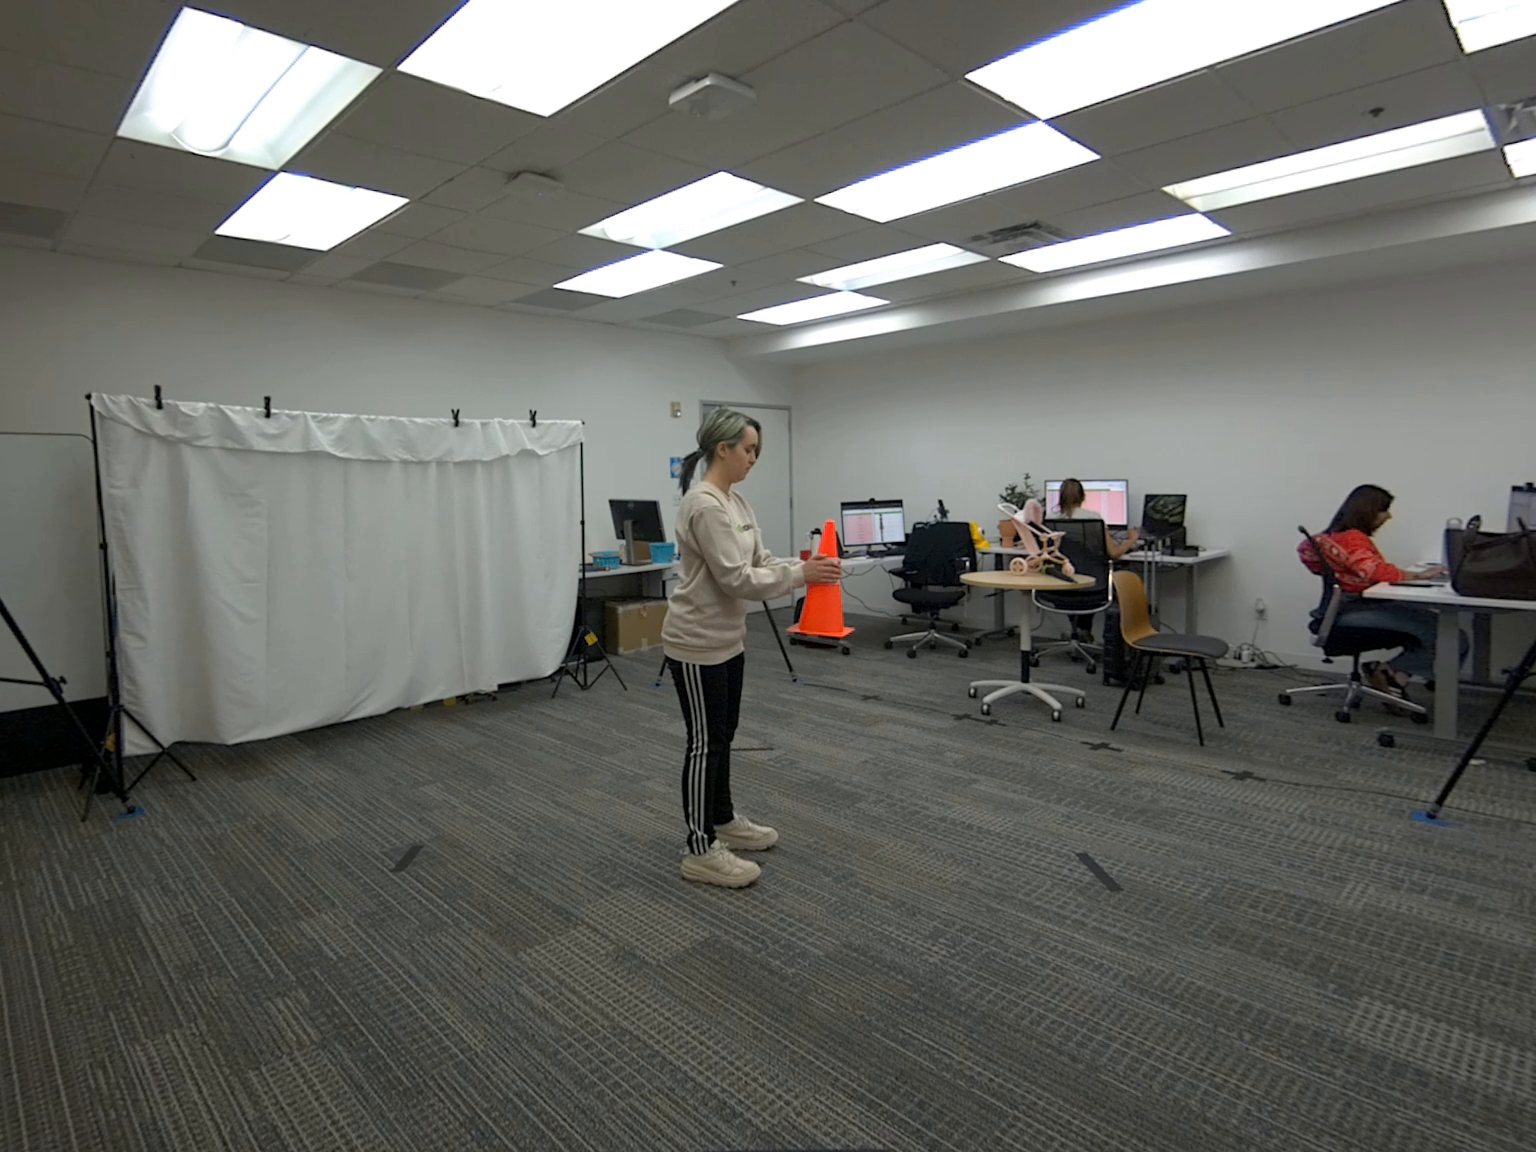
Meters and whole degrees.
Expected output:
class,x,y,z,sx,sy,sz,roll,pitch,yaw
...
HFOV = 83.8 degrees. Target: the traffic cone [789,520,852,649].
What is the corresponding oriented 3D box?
class,x,y,z,sx,sy,sz,roll,pitch,yaw
traffic cone,0.190,0.003,2.945,0.208,0.382,0.201,6,6,23
